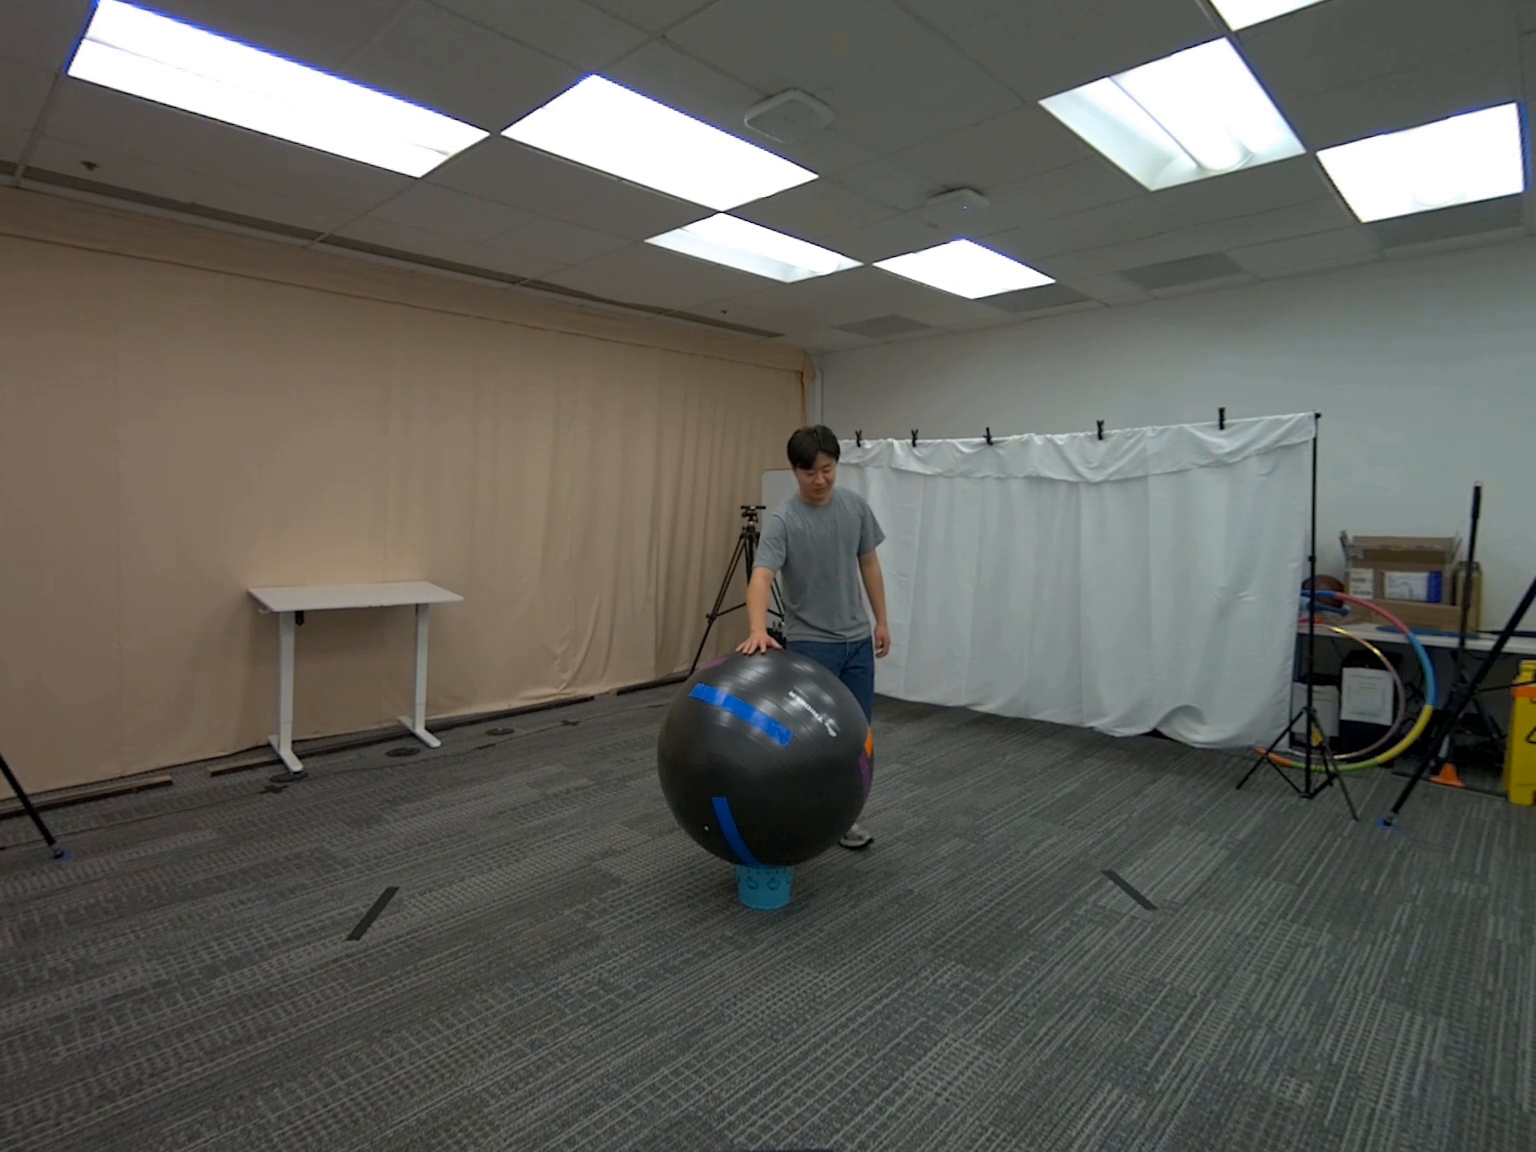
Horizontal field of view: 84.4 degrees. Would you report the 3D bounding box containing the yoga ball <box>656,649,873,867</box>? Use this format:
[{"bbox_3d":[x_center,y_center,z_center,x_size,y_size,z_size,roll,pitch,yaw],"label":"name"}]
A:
[{"bbox_3d":[-0.016,0.631,2.974,0.757,0.756,0.760,0,4,-2],"label":"yoga ball"}]
